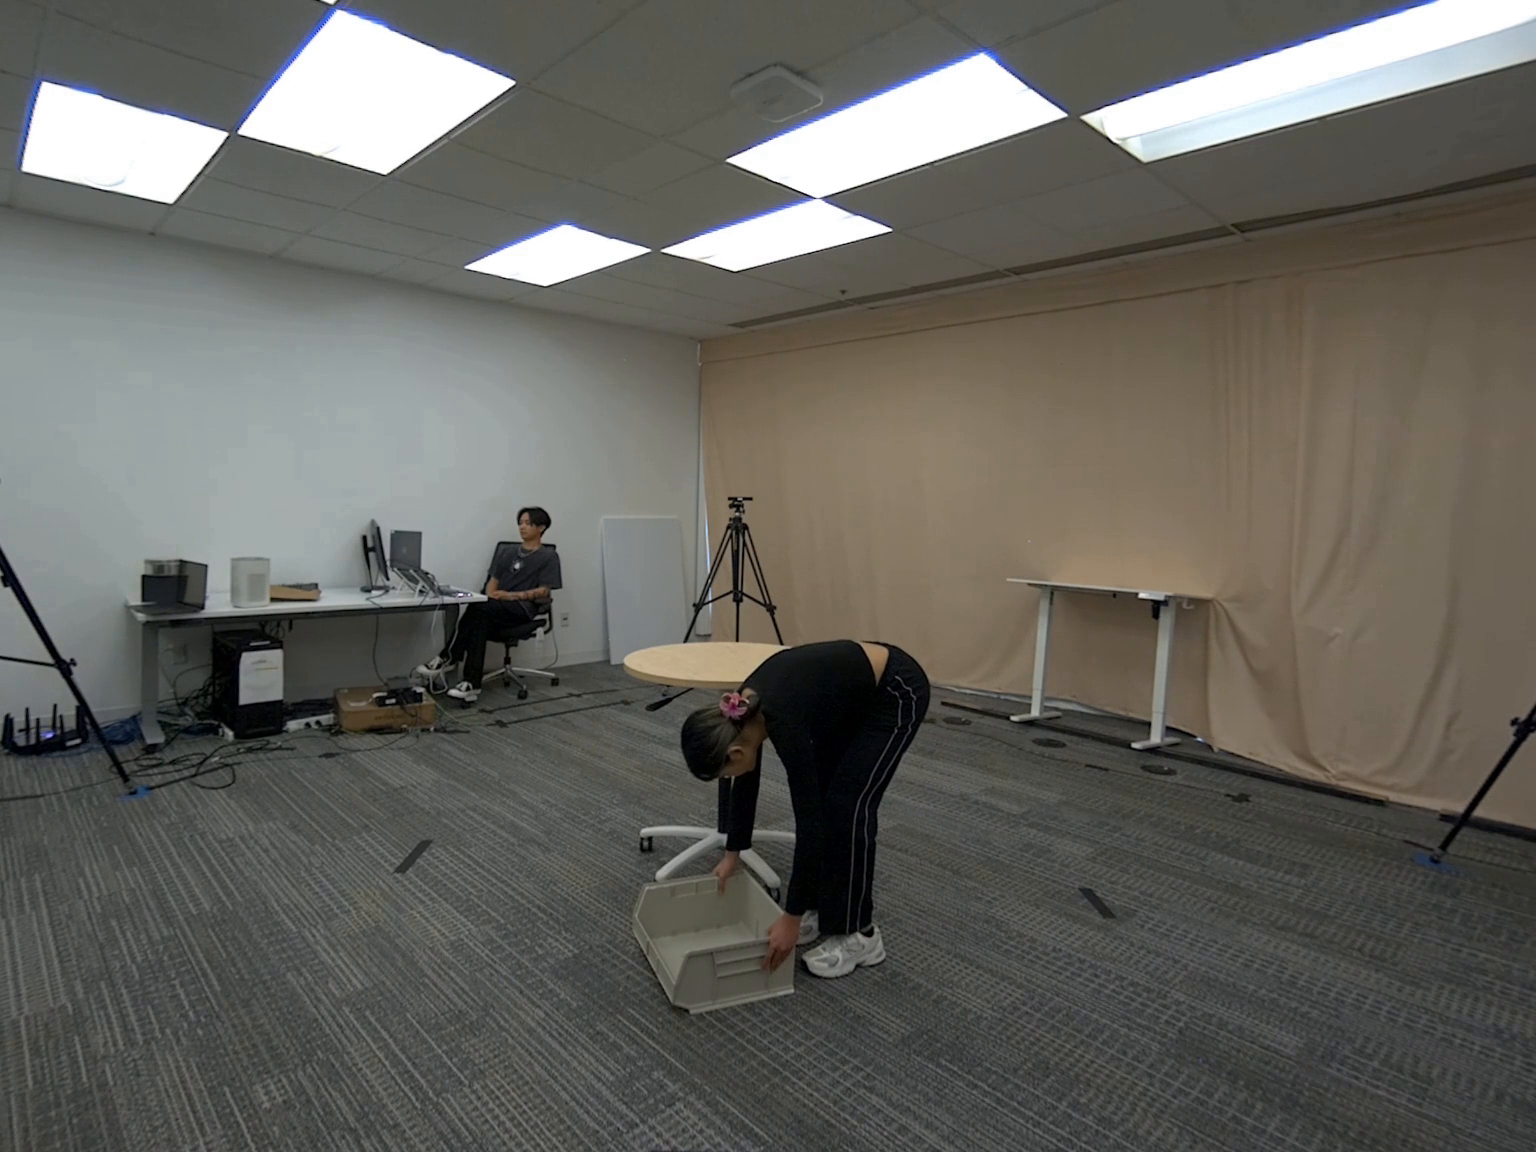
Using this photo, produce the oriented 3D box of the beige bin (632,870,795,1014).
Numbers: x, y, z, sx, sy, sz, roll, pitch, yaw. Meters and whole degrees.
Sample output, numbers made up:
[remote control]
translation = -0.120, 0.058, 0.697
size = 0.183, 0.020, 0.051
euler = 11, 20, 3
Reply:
[beige bin]
translation = -0.167, 1.065, 2.500
size = 0.371, 0.189, 0.430
euler = 0, 3, -24
